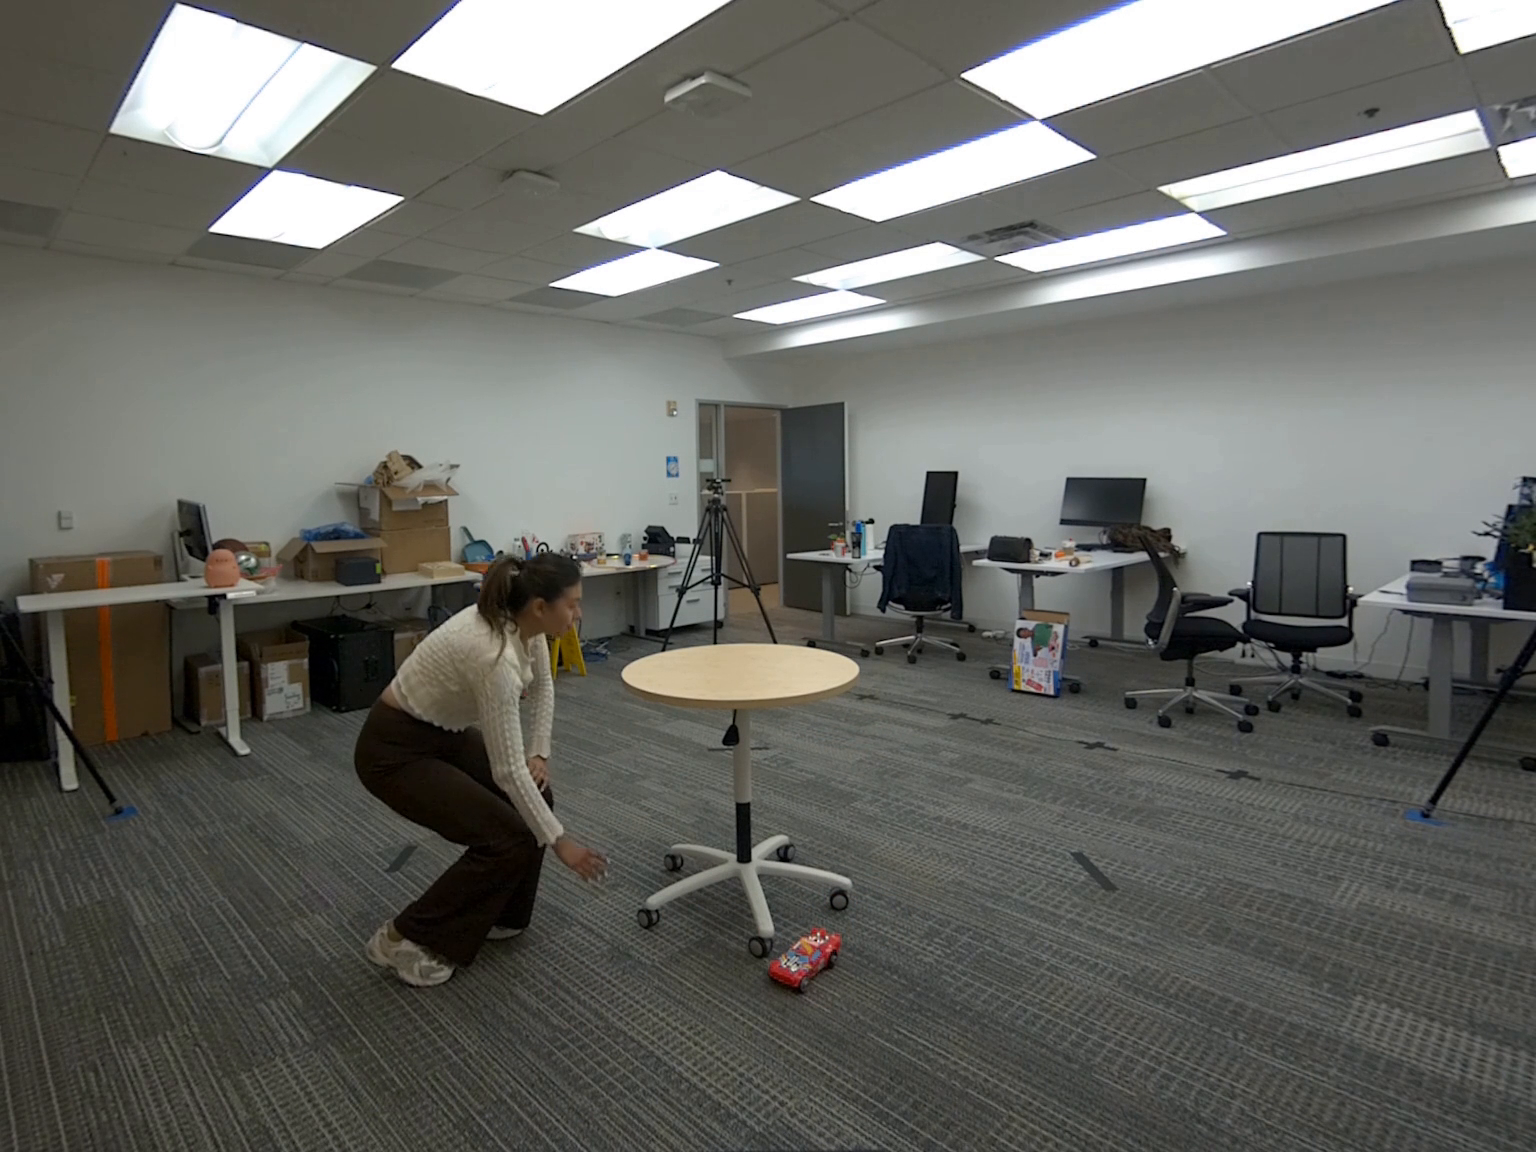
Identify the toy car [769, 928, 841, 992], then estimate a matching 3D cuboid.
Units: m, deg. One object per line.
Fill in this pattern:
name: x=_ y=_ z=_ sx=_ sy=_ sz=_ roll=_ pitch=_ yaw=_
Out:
toy car: x=0.112 y=1.085 z=2.426 sx=0.134 sy=0.082 sz=0.250 roll=3 pitch=18 yaw=38
